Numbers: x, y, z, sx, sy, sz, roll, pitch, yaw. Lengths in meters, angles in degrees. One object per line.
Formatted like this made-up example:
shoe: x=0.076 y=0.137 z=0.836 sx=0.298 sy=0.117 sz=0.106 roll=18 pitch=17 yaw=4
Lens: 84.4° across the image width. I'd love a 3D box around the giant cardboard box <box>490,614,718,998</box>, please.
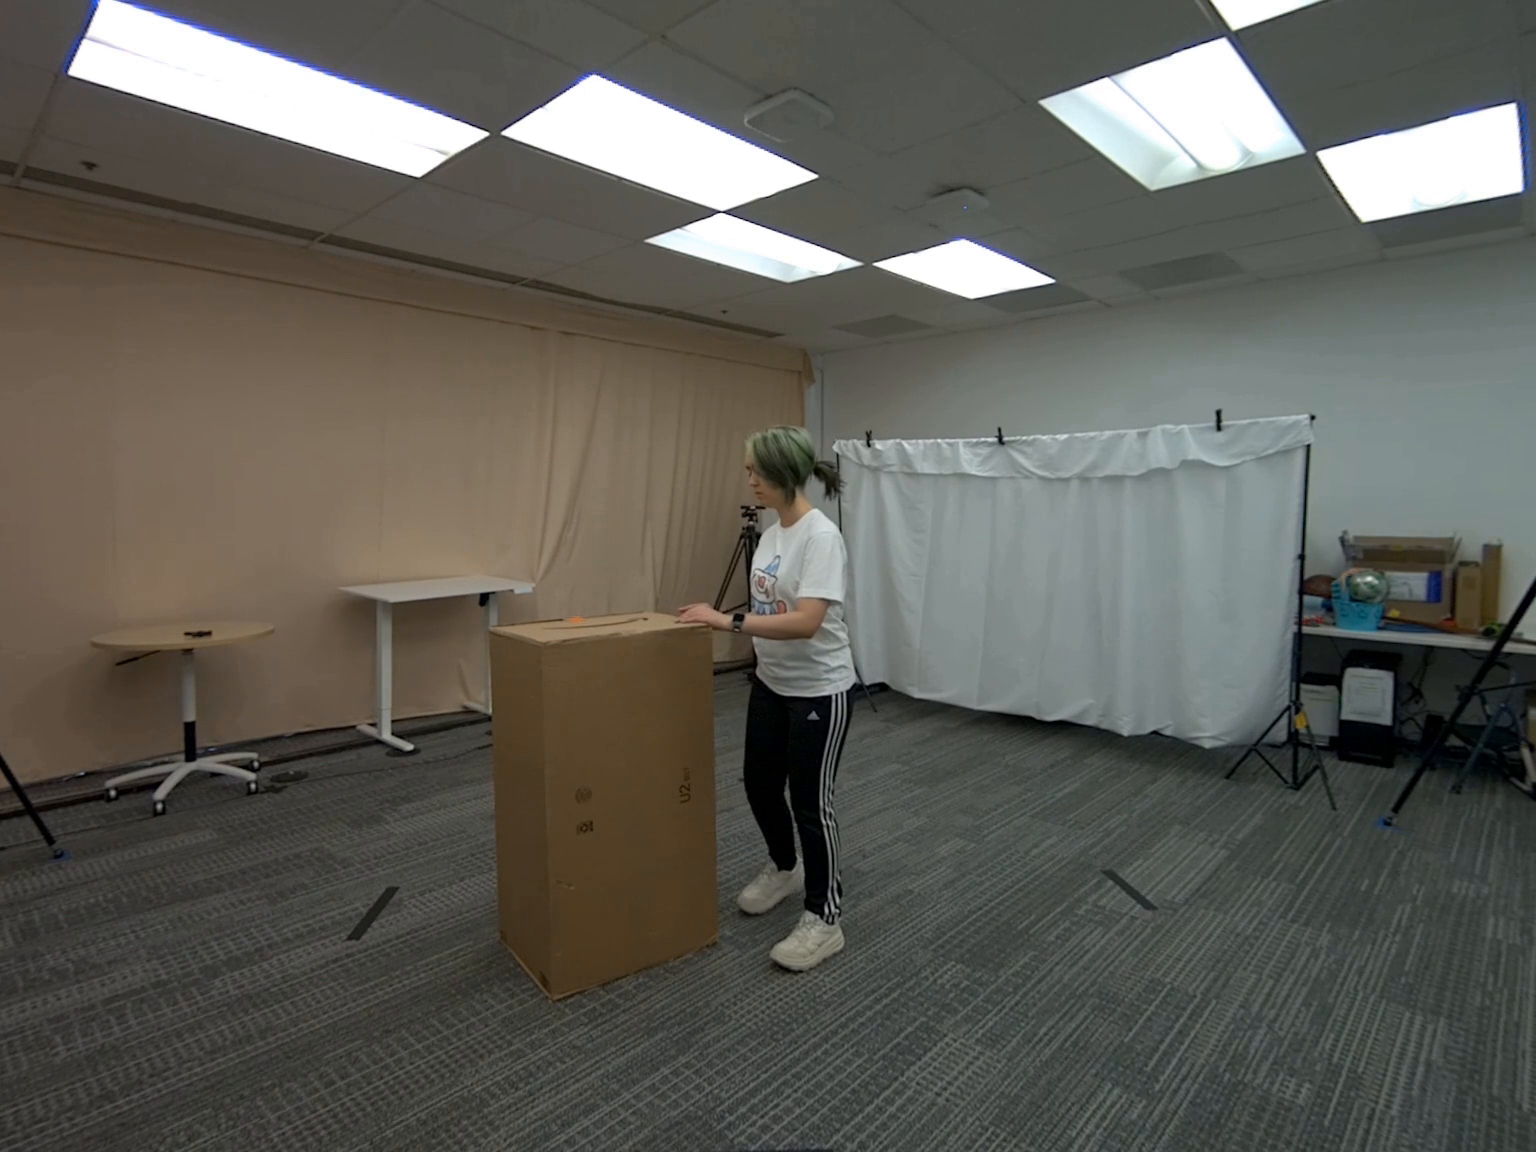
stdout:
giant cardboard box: x=-0.521 y=0.668 z=2.671 sx=0.567 sy=1.025 sz=0.461 roll=-3 pitch=4 yaw=-37
